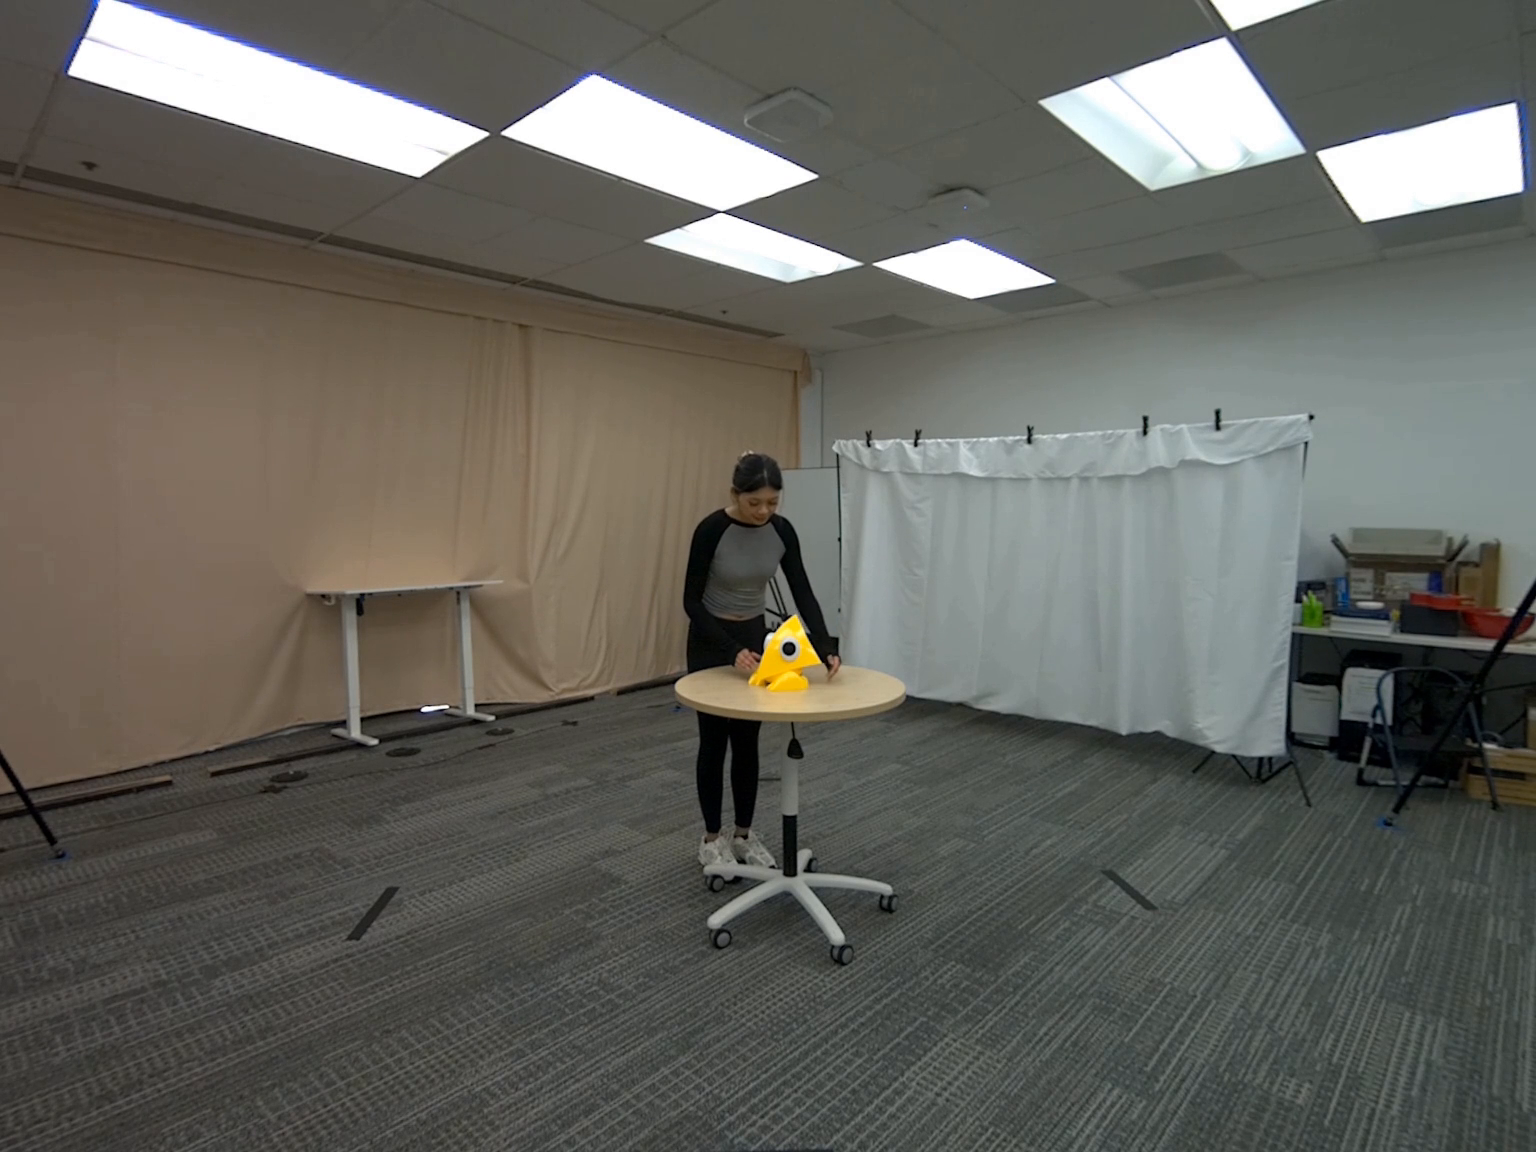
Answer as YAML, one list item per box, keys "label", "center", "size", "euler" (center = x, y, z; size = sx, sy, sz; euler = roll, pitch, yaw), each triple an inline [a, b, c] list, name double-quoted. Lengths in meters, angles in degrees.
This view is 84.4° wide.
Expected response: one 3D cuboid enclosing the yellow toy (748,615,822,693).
- label: "yellow toy"
  center: [0.052, 0.249, 2.816]
  size: [0.188, 0.230, 0.211]
  euler: [-3, 5, -31]
